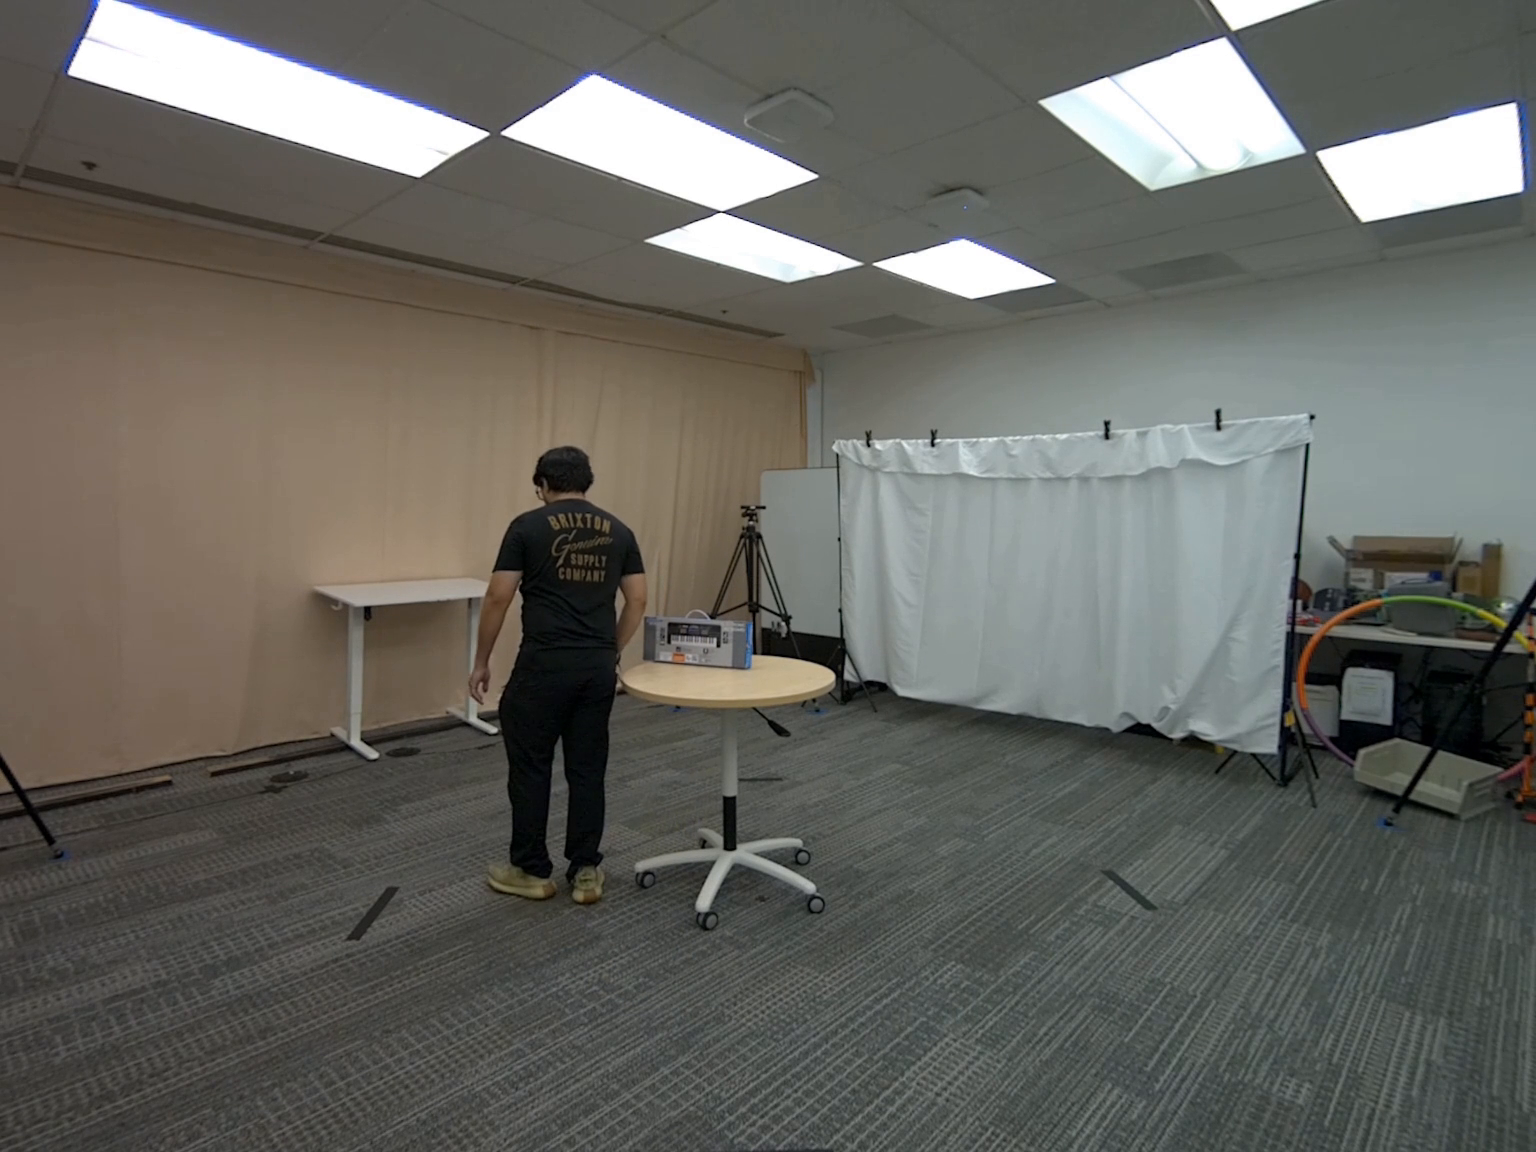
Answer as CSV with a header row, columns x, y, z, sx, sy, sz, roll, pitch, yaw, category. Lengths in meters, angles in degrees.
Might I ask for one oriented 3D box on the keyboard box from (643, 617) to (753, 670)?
x,y,z,sx,sy,sz,roll,pitch,yaw,category
-0.273,0.253,3.227,0.448,0.176,0.057,2,-2,24,keyboard box
